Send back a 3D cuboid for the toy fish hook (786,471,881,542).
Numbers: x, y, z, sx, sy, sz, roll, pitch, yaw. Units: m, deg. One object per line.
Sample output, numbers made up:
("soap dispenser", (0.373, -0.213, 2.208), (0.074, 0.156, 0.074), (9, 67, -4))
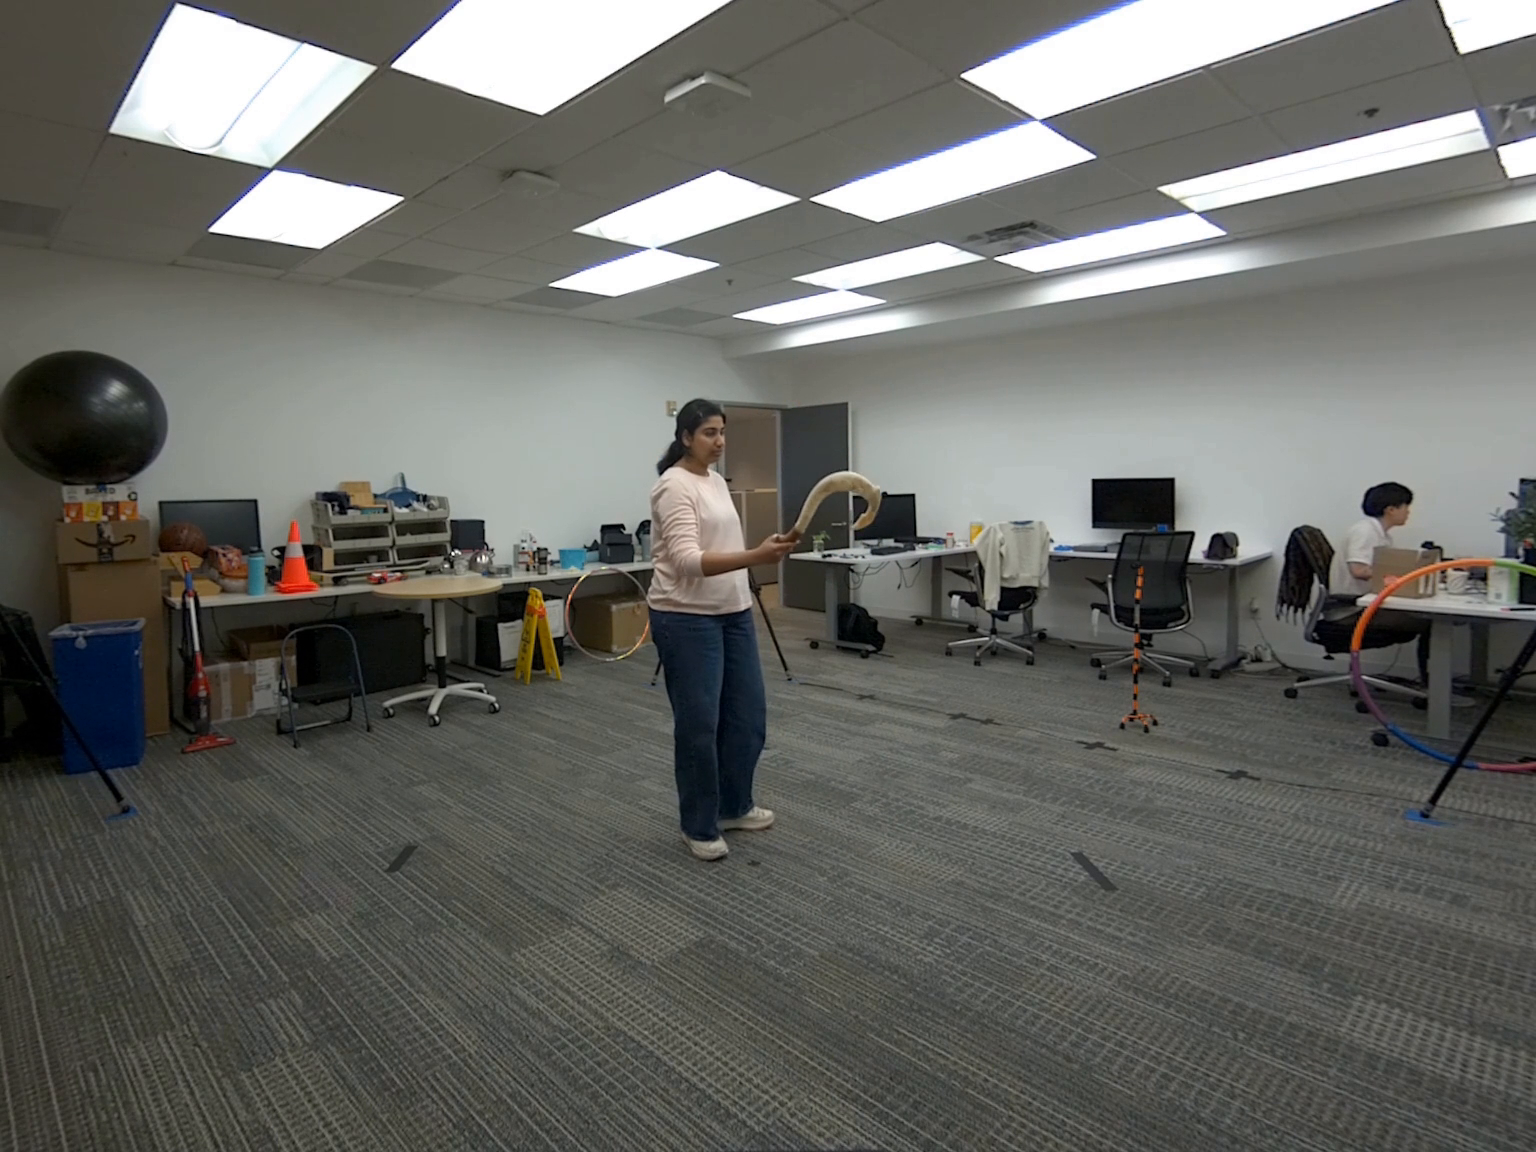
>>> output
("toy fish hook", (0.174, -0.164, 2.797), (0.221, 0.049, 0.507), (35, -46, -13))
